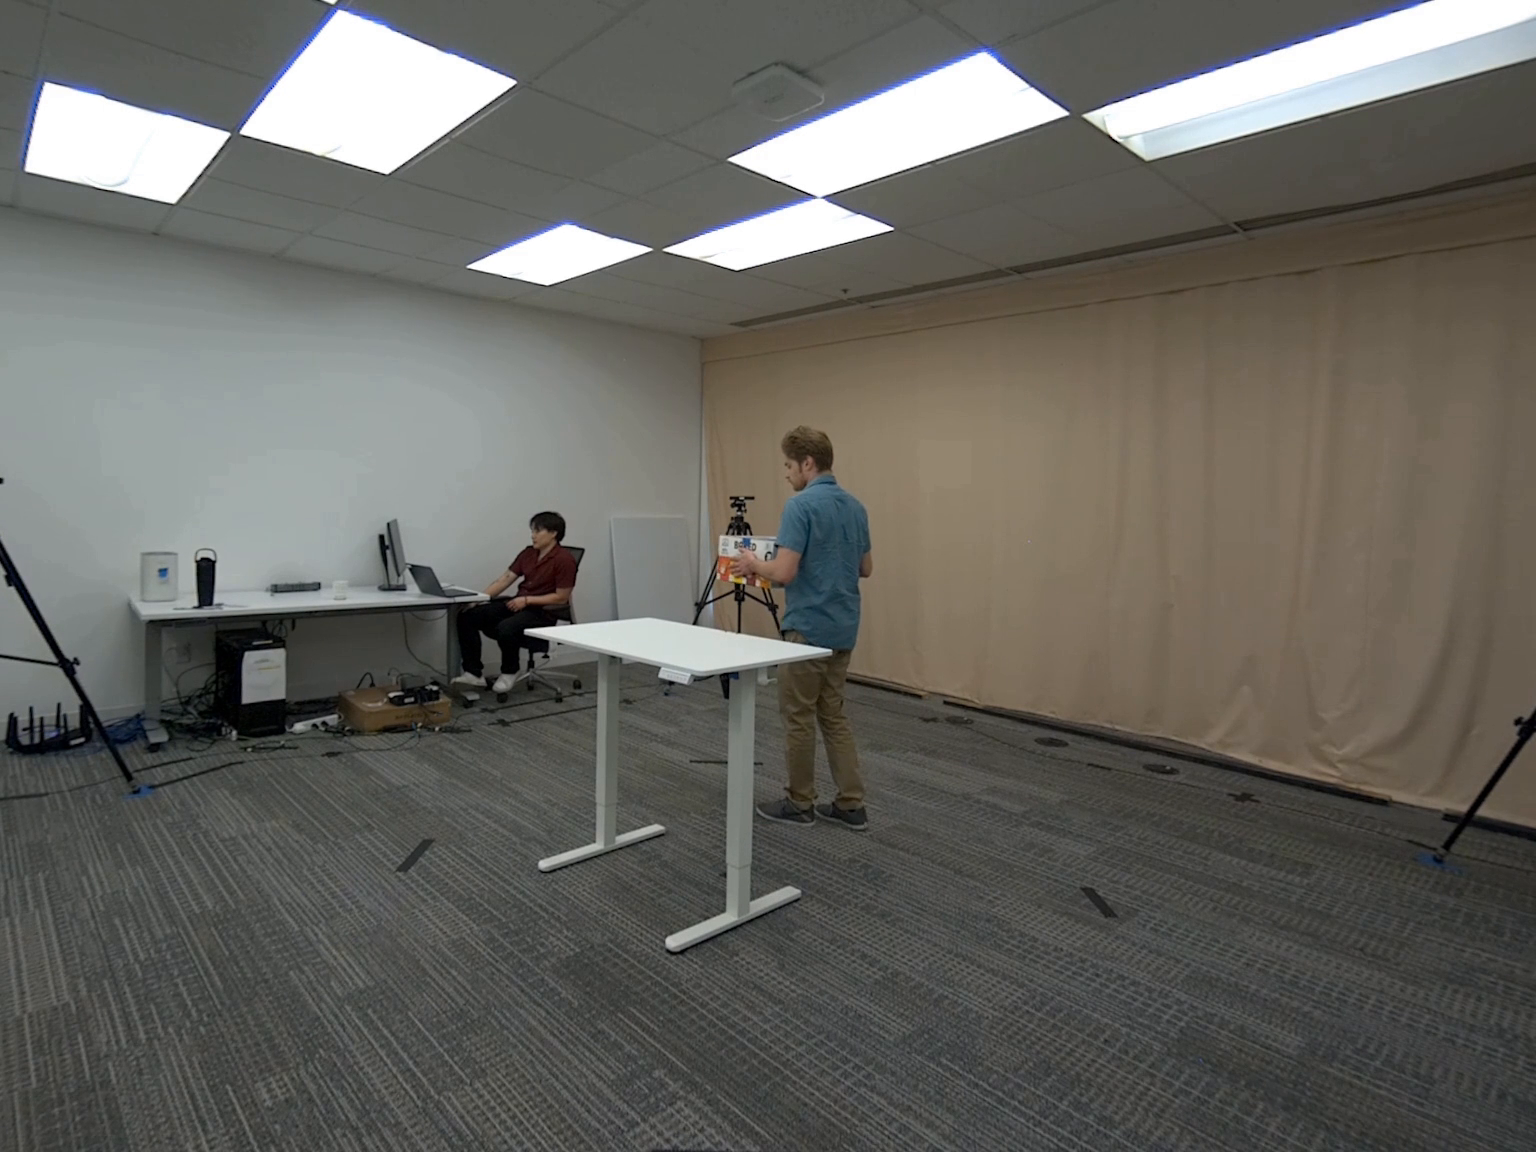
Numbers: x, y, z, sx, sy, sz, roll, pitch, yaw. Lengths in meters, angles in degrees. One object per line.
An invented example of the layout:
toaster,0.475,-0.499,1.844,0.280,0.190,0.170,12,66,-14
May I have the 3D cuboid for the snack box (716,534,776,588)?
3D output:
snack box,0.024,-0.068,3.839,0.349,0.205,0.395,9,7,43
